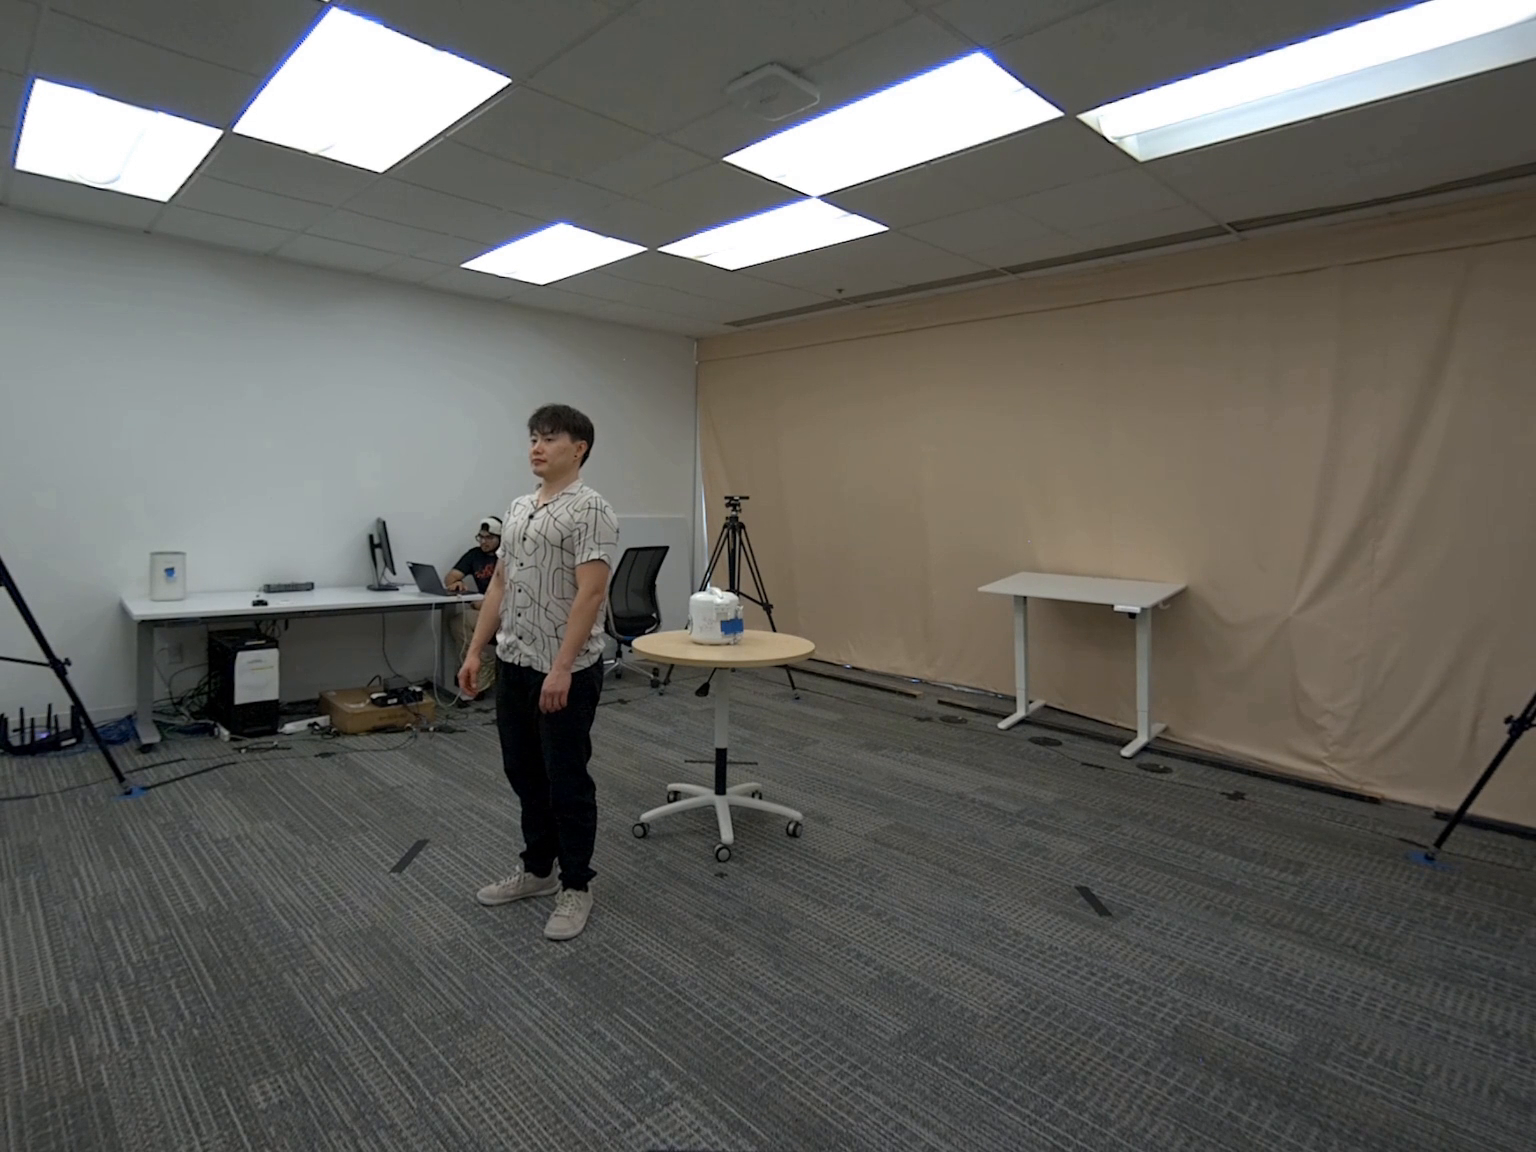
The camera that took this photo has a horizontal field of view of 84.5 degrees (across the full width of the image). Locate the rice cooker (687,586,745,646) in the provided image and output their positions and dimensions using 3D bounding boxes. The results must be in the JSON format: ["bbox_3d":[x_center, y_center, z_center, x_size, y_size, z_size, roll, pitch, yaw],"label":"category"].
[{"bbox_3d":[-0.232,0.163,3.541,0.214,0.232,0.224,1,3,-19],"label":"rice cooker"}]
